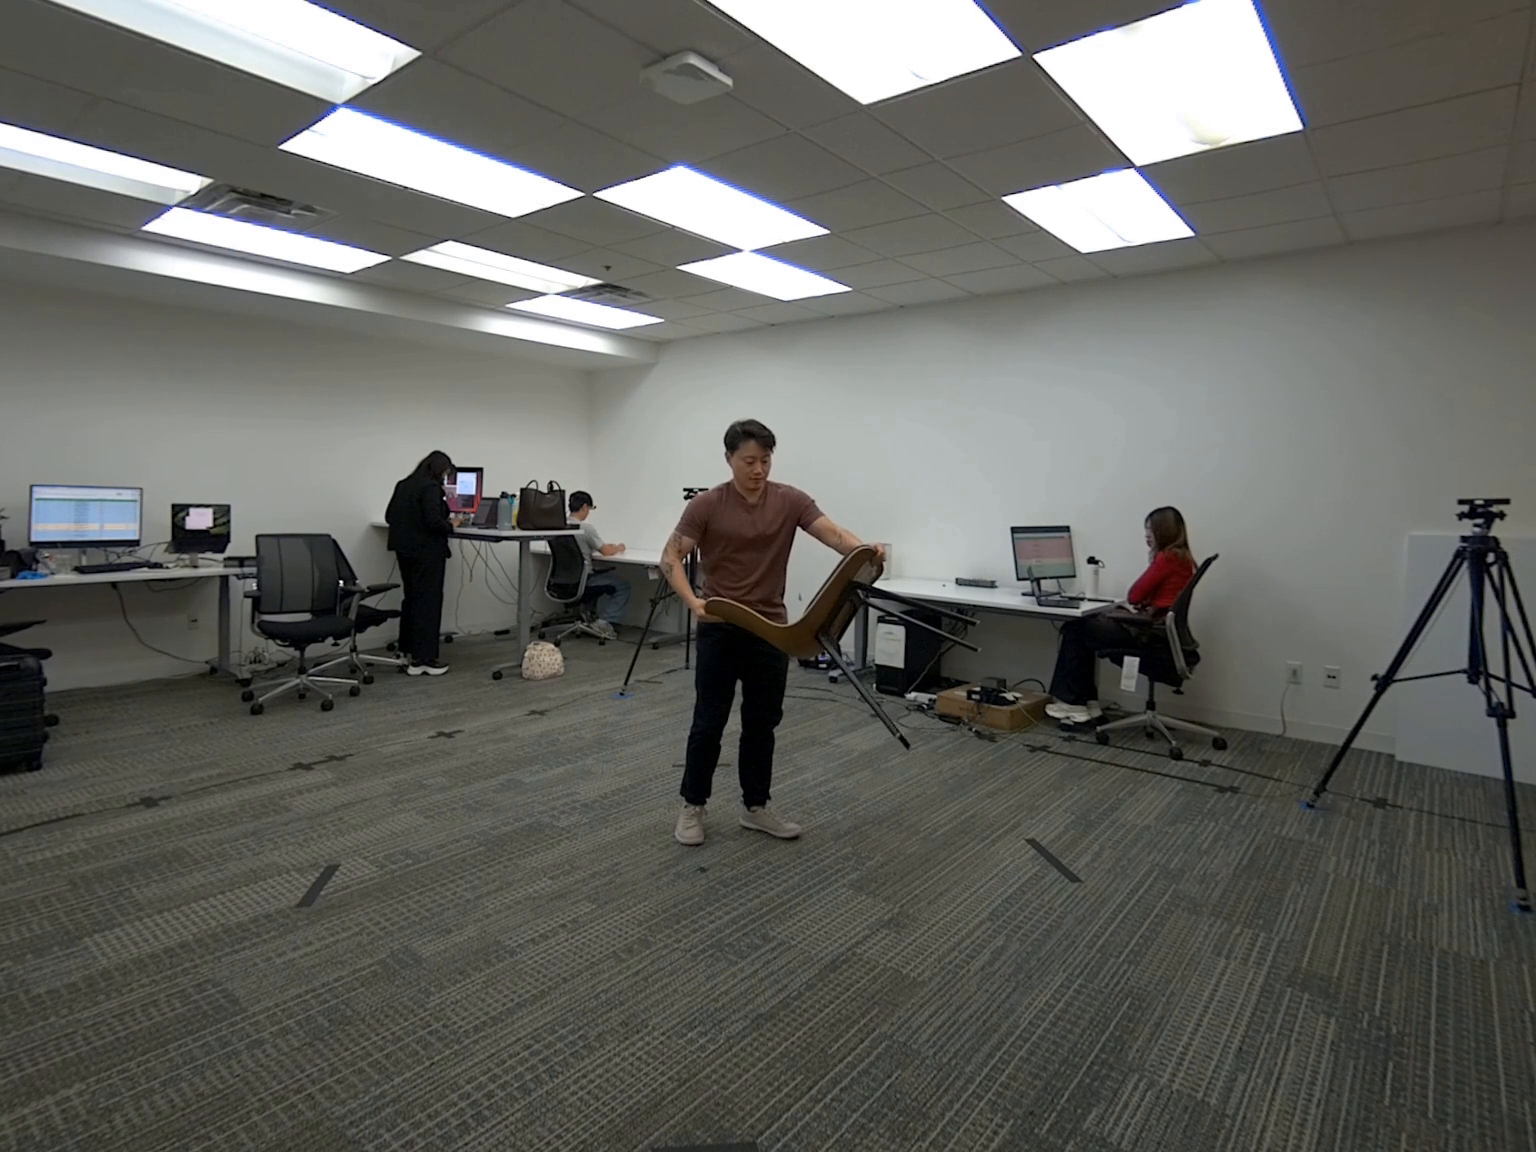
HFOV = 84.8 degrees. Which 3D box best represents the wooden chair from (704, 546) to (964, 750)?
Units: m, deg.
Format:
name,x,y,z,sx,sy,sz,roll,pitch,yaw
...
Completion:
name,x,y,z,sx,sy,sz,roll,pitch,yaw
wooden chair,0.255,0.150,3.083,0.905,0.524,0.463,31,-6,23
